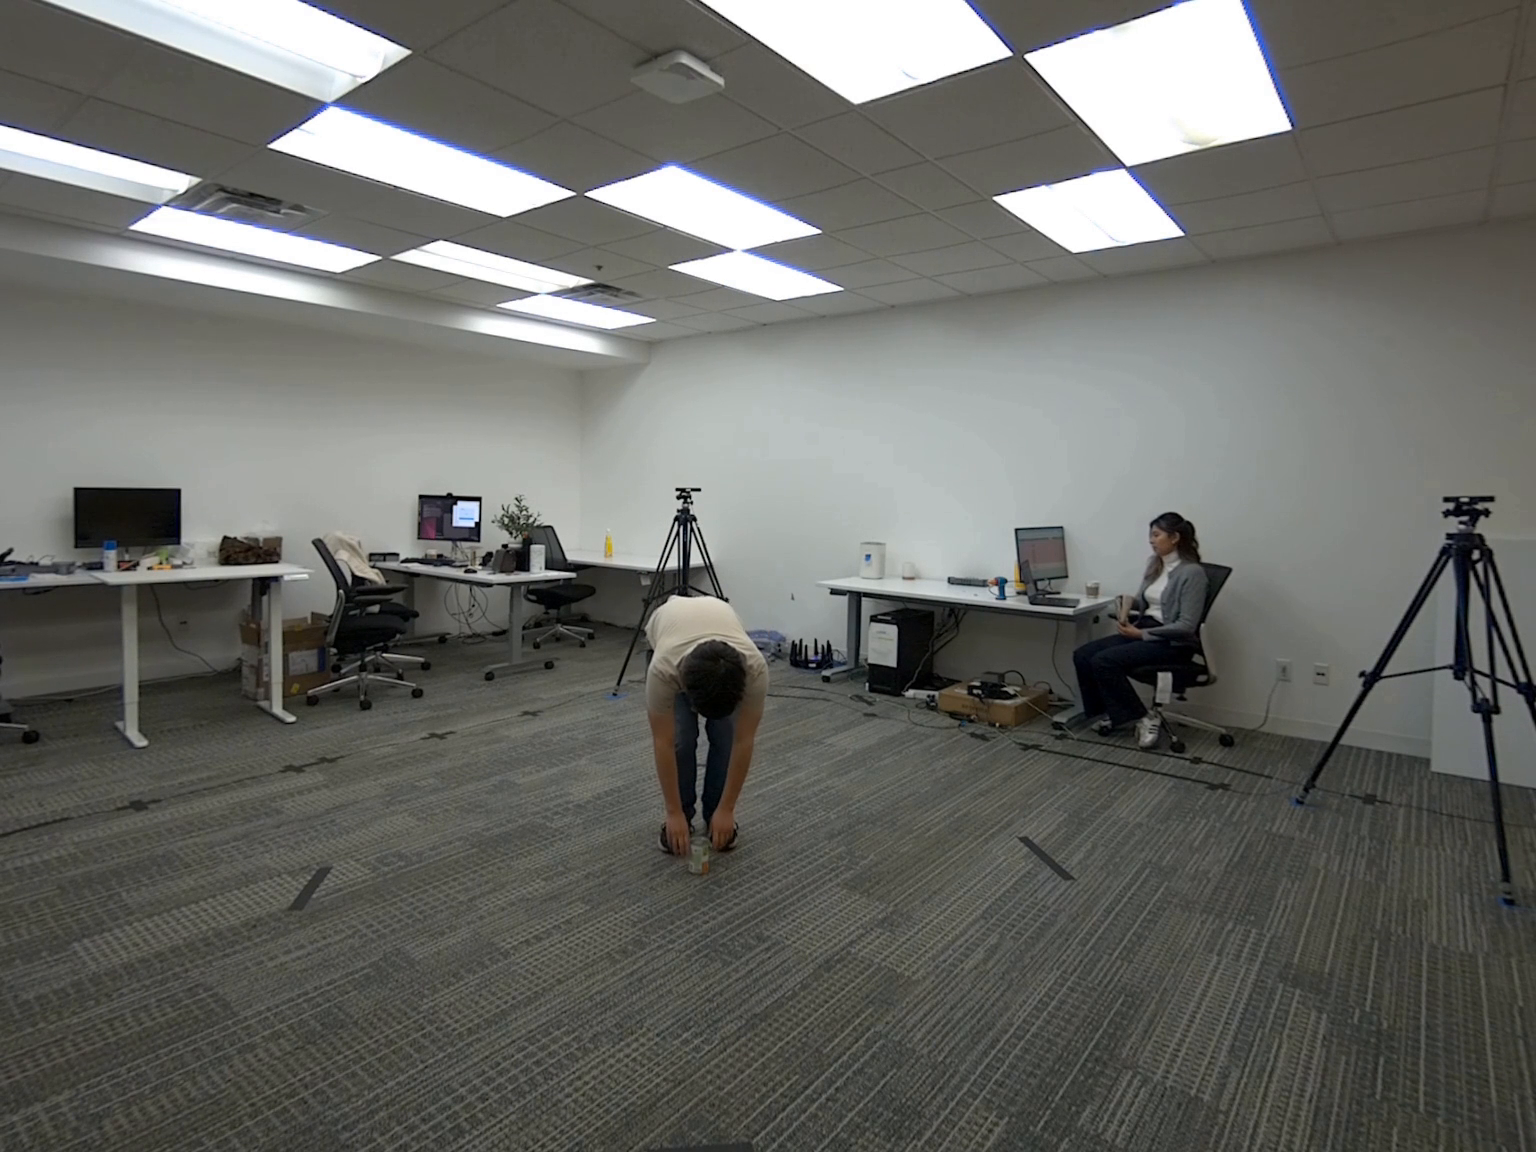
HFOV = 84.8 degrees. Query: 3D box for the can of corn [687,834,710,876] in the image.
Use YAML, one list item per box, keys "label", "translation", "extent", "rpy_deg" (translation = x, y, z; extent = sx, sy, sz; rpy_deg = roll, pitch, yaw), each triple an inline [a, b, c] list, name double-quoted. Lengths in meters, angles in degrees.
- label: "can of corn"
  translation: [-0.264, 1.020, 3.087]
  extent: [0.074, 0.111, 0.074]
  rpy_deg: [-2, 0, -2]
